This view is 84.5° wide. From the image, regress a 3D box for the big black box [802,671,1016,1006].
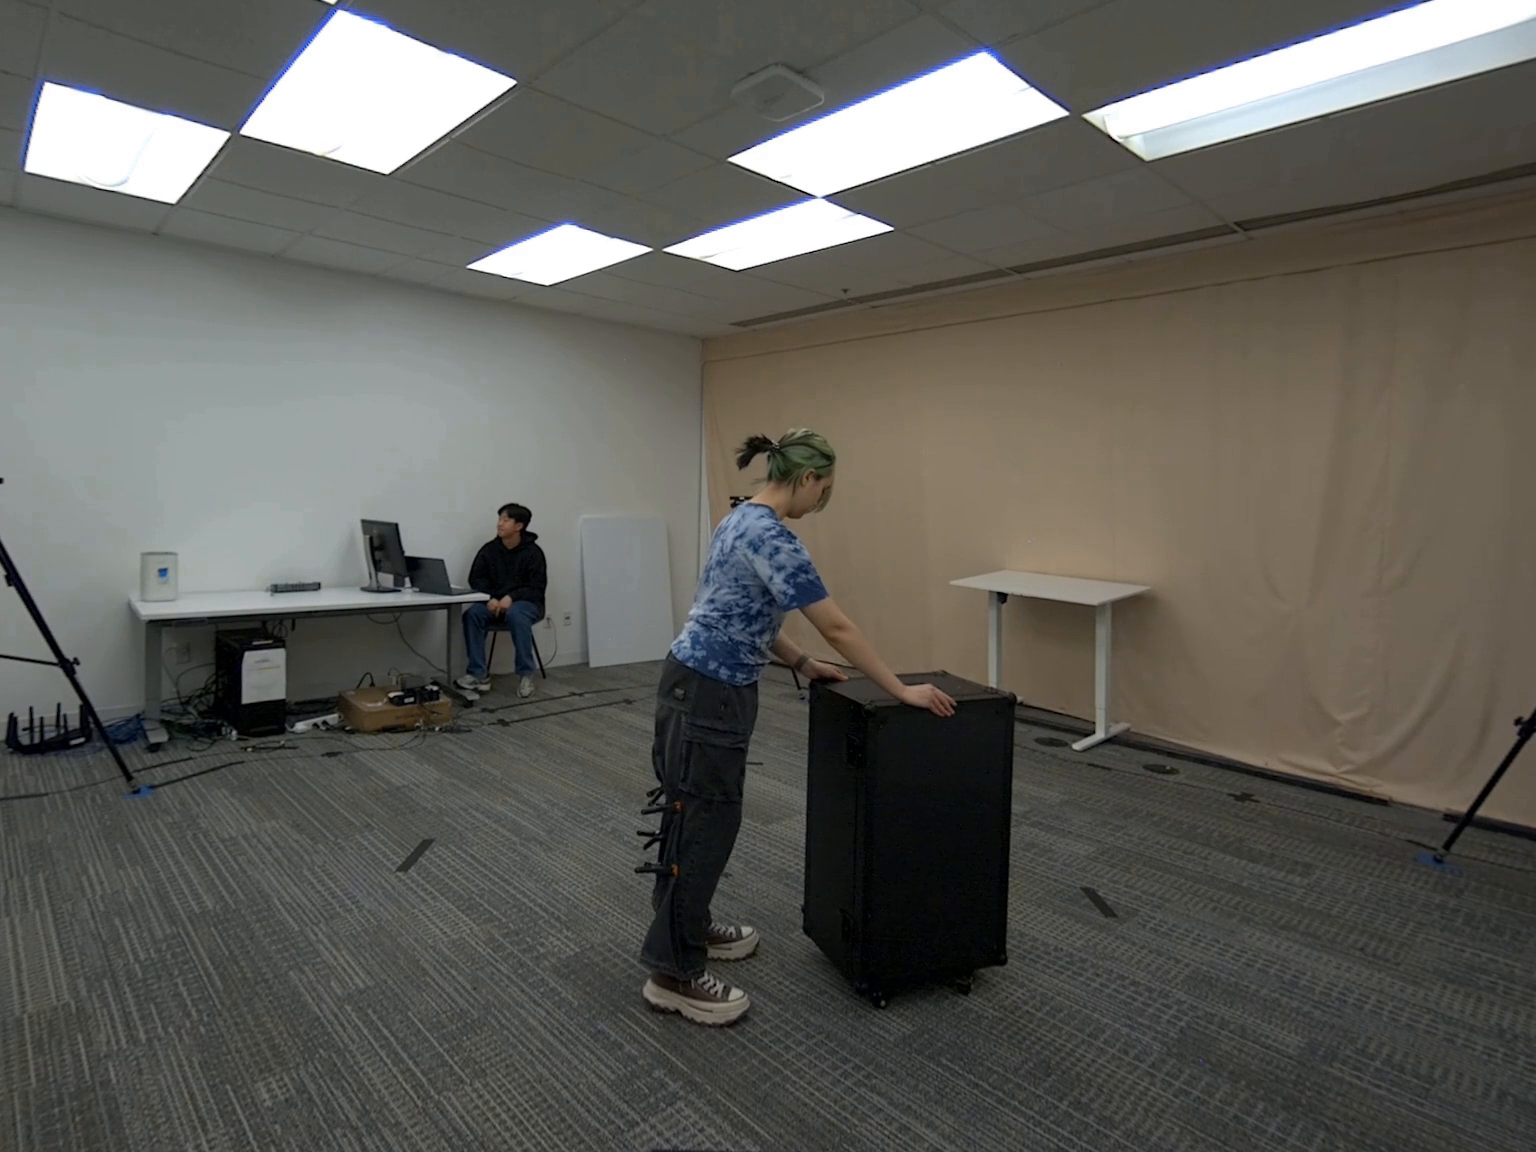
[{"bbox_3d":[0.395,0.755,2.486,0.513,0.860,0.403,0,2,-21],"label":"big black box"}]
